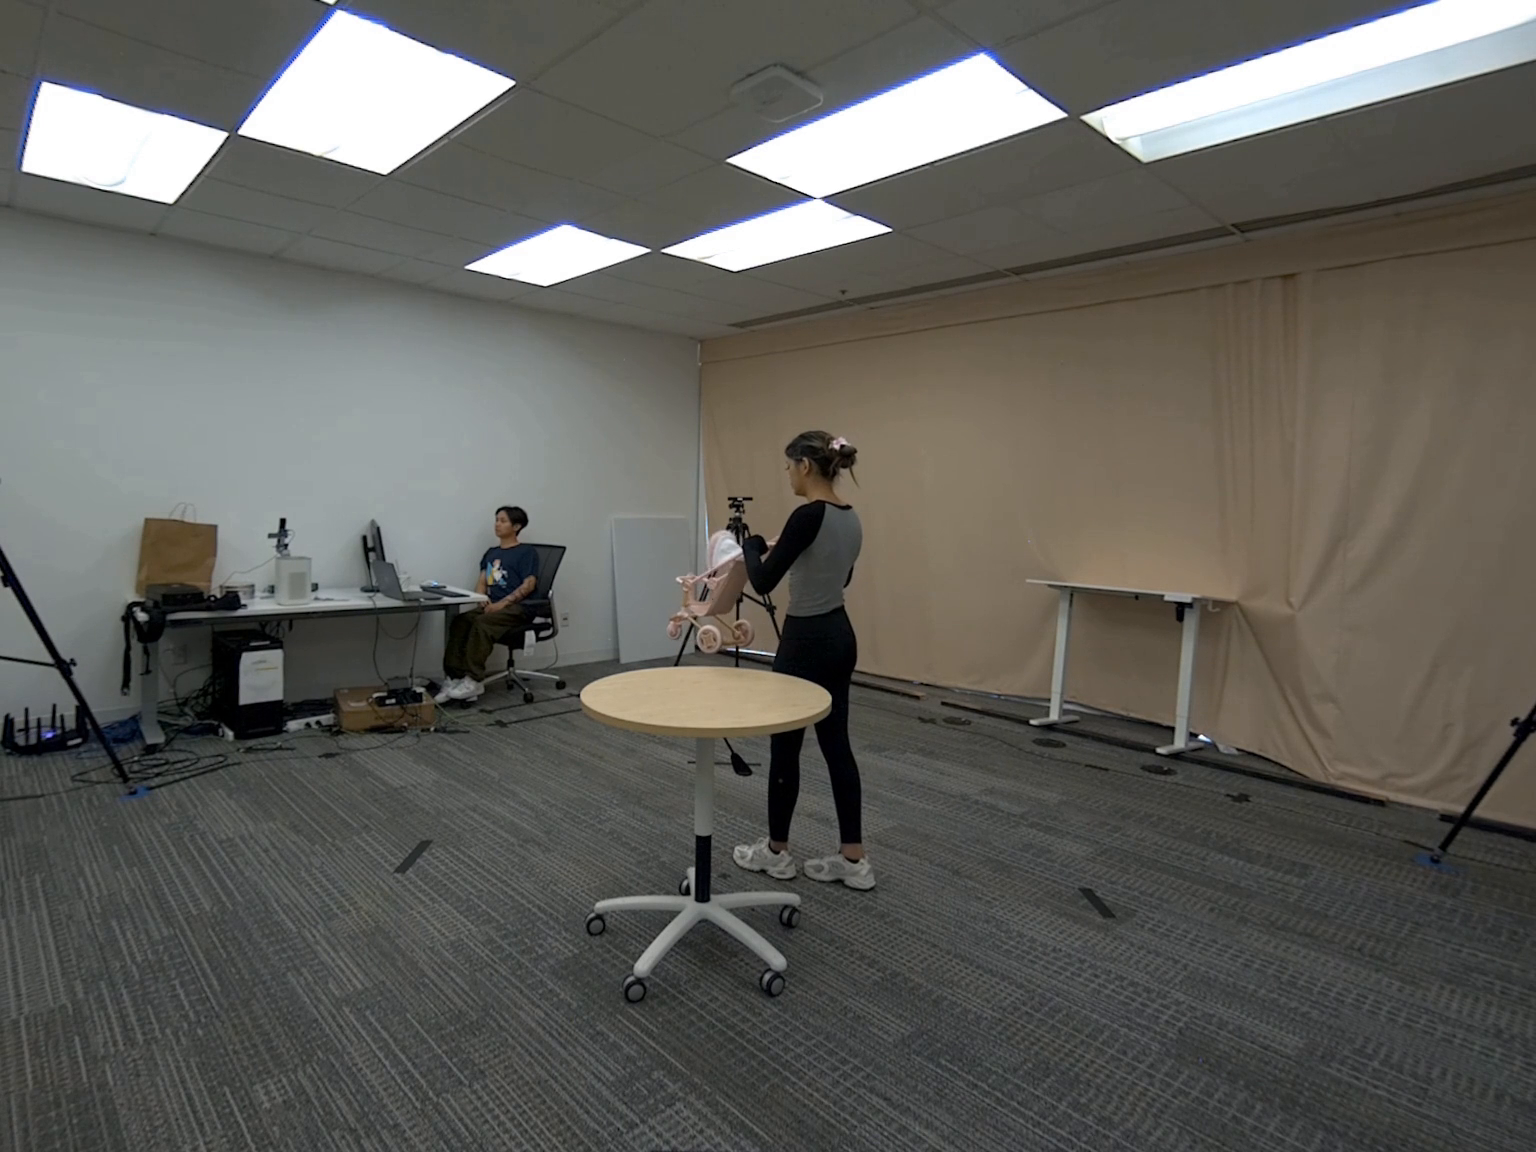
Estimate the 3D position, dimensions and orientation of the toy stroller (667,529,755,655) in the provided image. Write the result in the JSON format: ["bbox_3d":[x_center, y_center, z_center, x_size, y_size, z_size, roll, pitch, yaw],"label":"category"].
[{"bbox_3d":[-0.208,0.060,3.328,0.351,0.532,0.275,24,12,32],"label":"toy stroller"}]
